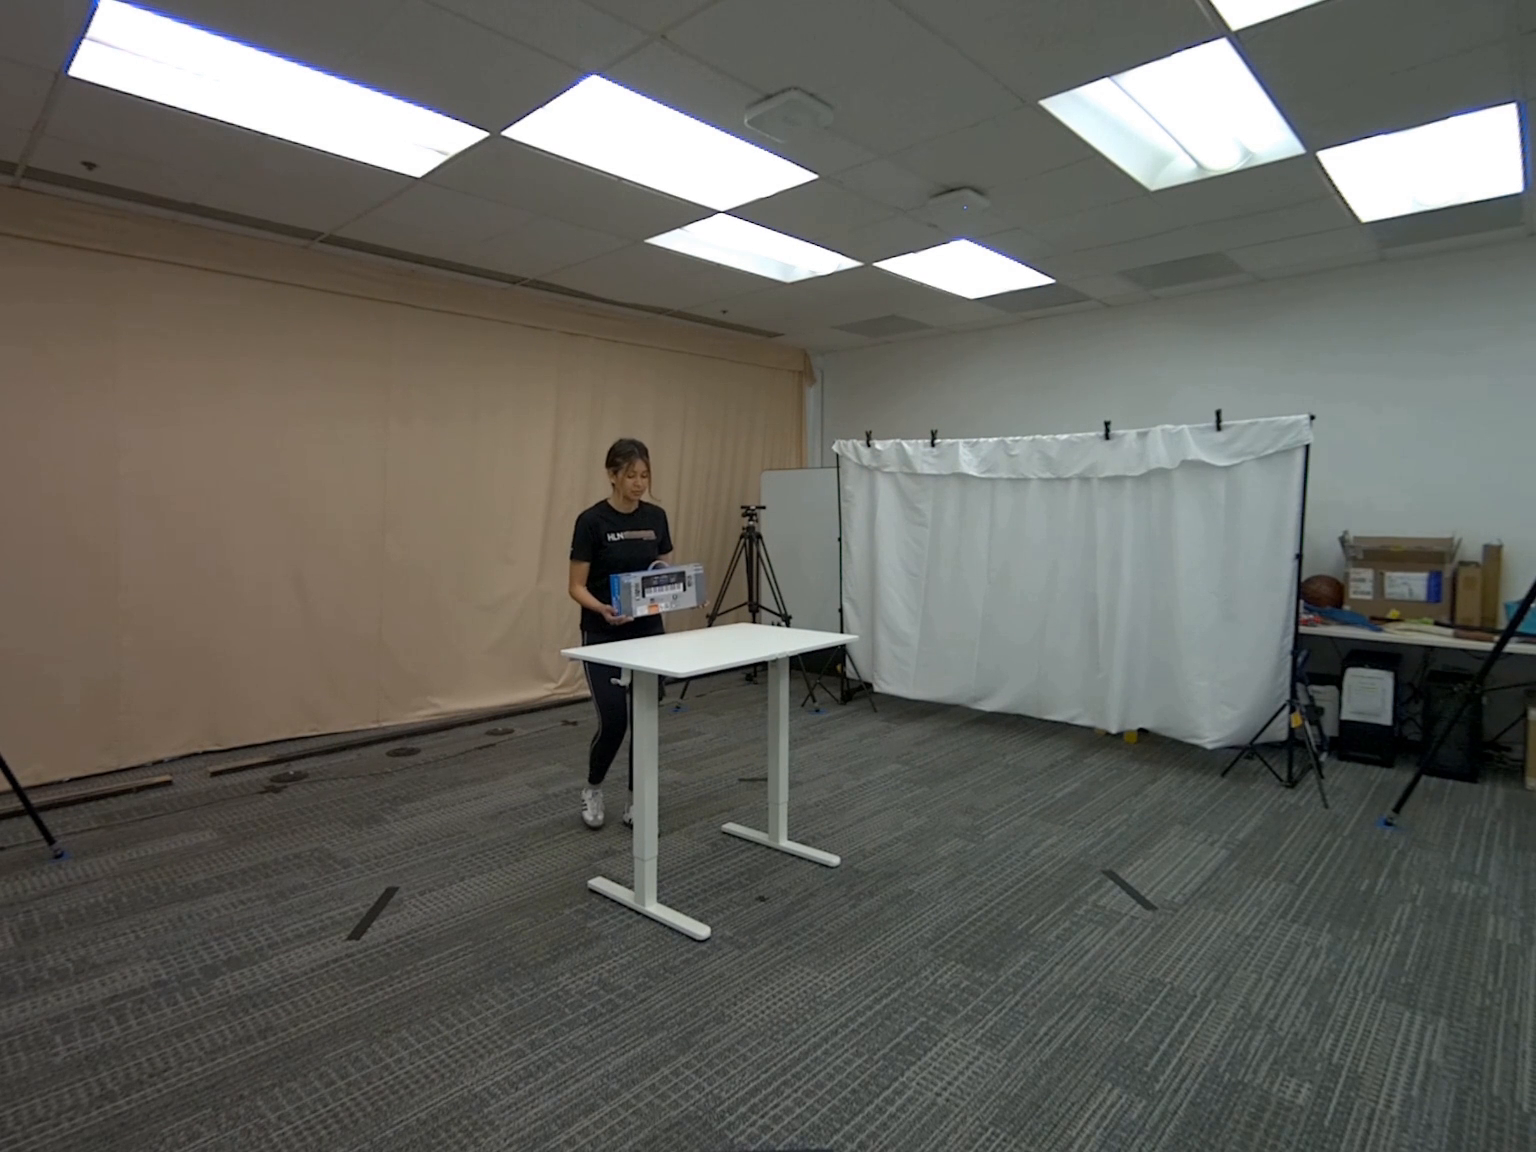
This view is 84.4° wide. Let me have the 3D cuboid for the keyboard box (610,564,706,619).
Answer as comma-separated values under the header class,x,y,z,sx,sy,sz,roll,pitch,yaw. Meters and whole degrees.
class,x,y,z,sx,sy,sz,roll,pitch,yaw
keyboard box,-0.433,0.063,3.388,0.424,0.175,0.061,-8,7,-43
